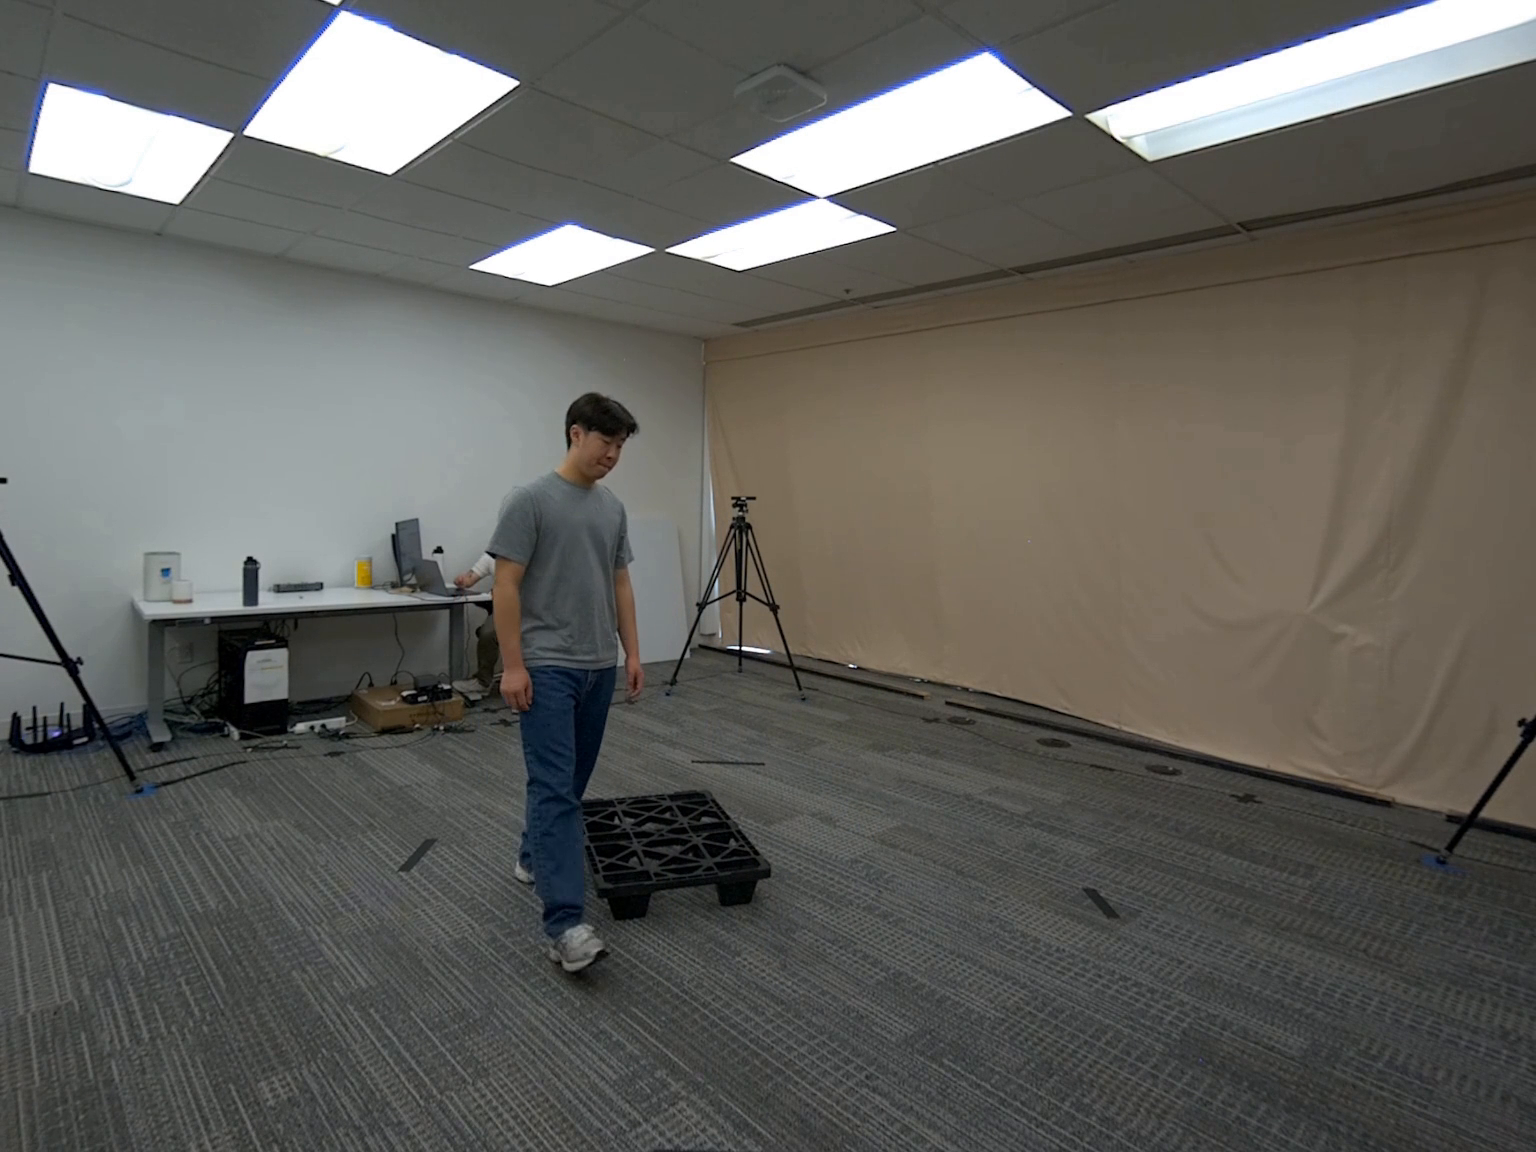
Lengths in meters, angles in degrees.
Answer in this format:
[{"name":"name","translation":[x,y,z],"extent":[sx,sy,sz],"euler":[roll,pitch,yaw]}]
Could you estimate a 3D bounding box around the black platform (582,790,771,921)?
[{"name":"black platform","translation":[-0.407,1.027,3.169],"extent":[0.596,0.143,0.820],"euler":[0,6,-19]}]
